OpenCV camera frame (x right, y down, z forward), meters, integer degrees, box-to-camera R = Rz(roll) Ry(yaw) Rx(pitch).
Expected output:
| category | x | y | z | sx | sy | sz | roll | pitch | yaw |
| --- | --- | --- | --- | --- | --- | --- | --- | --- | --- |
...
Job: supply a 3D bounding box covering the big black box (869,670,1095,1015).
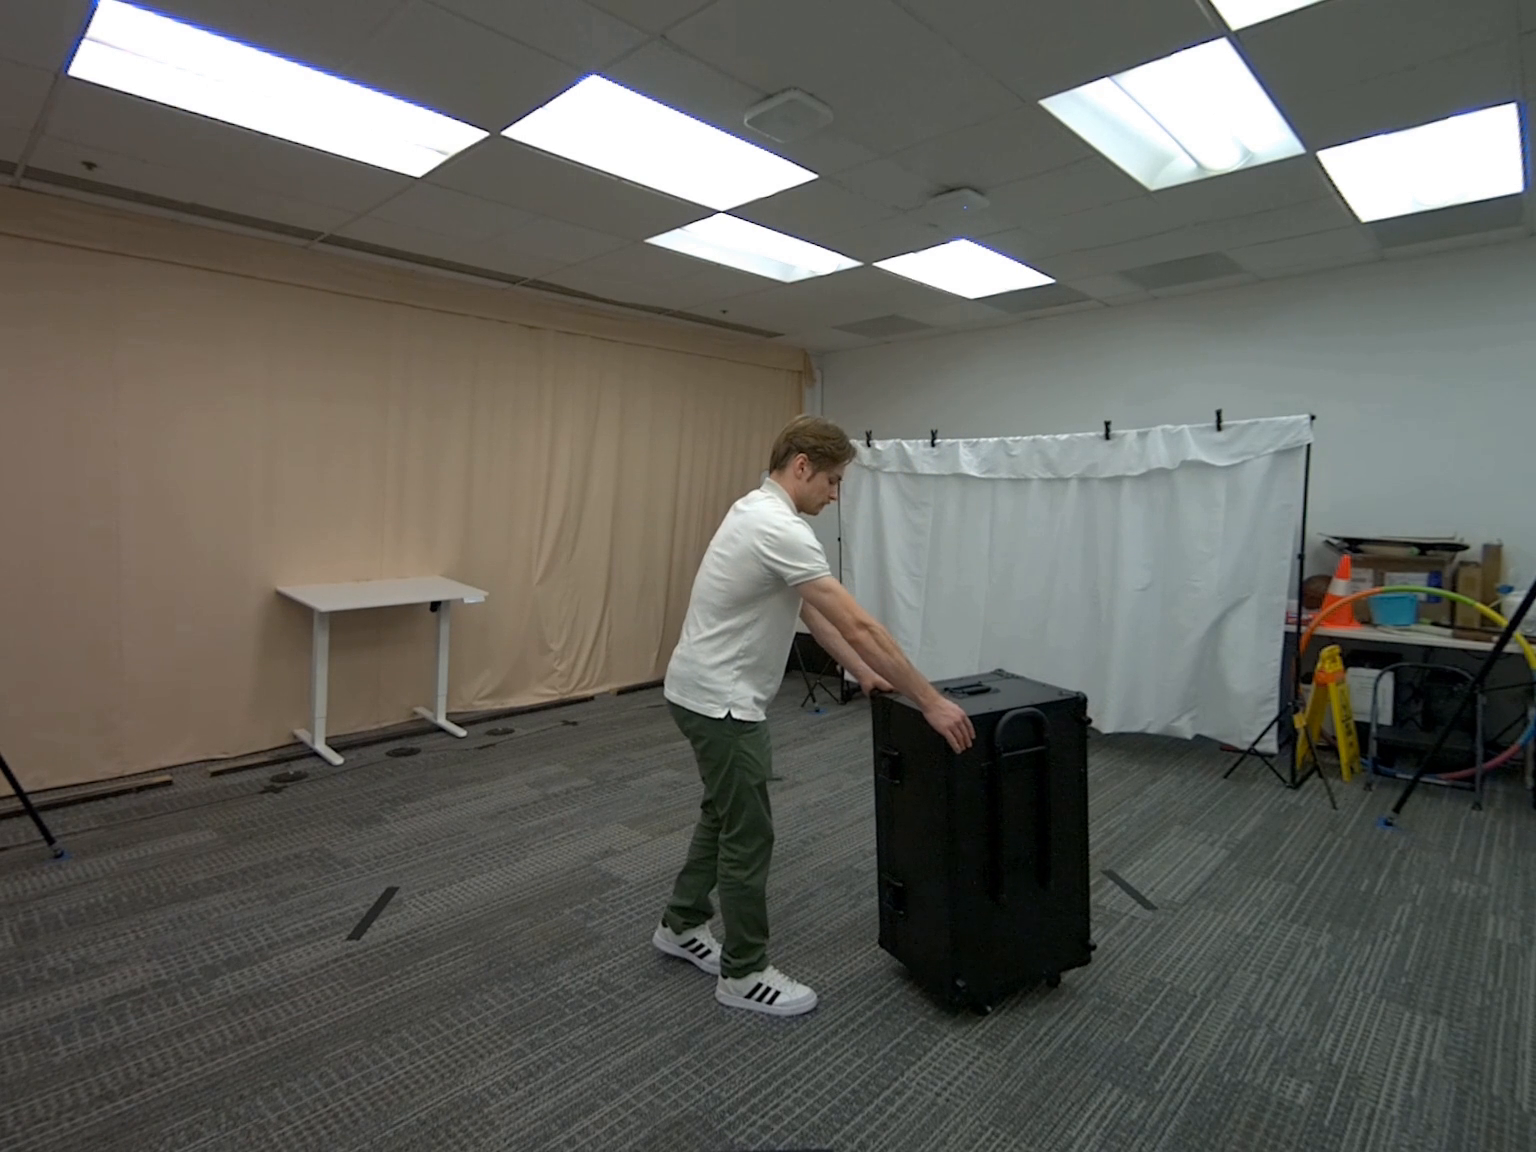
| category | x | y | z | sx | sy | sz | roll | pitch | yaw |
| --- | --- | --- | --- | --- | --- | --- | --- | --- | --- |
| big black box | 0.630 | 0.762 | 2.440 | 0.512 | 0.866 | 0.395 | -4 | 5 | -24 |
